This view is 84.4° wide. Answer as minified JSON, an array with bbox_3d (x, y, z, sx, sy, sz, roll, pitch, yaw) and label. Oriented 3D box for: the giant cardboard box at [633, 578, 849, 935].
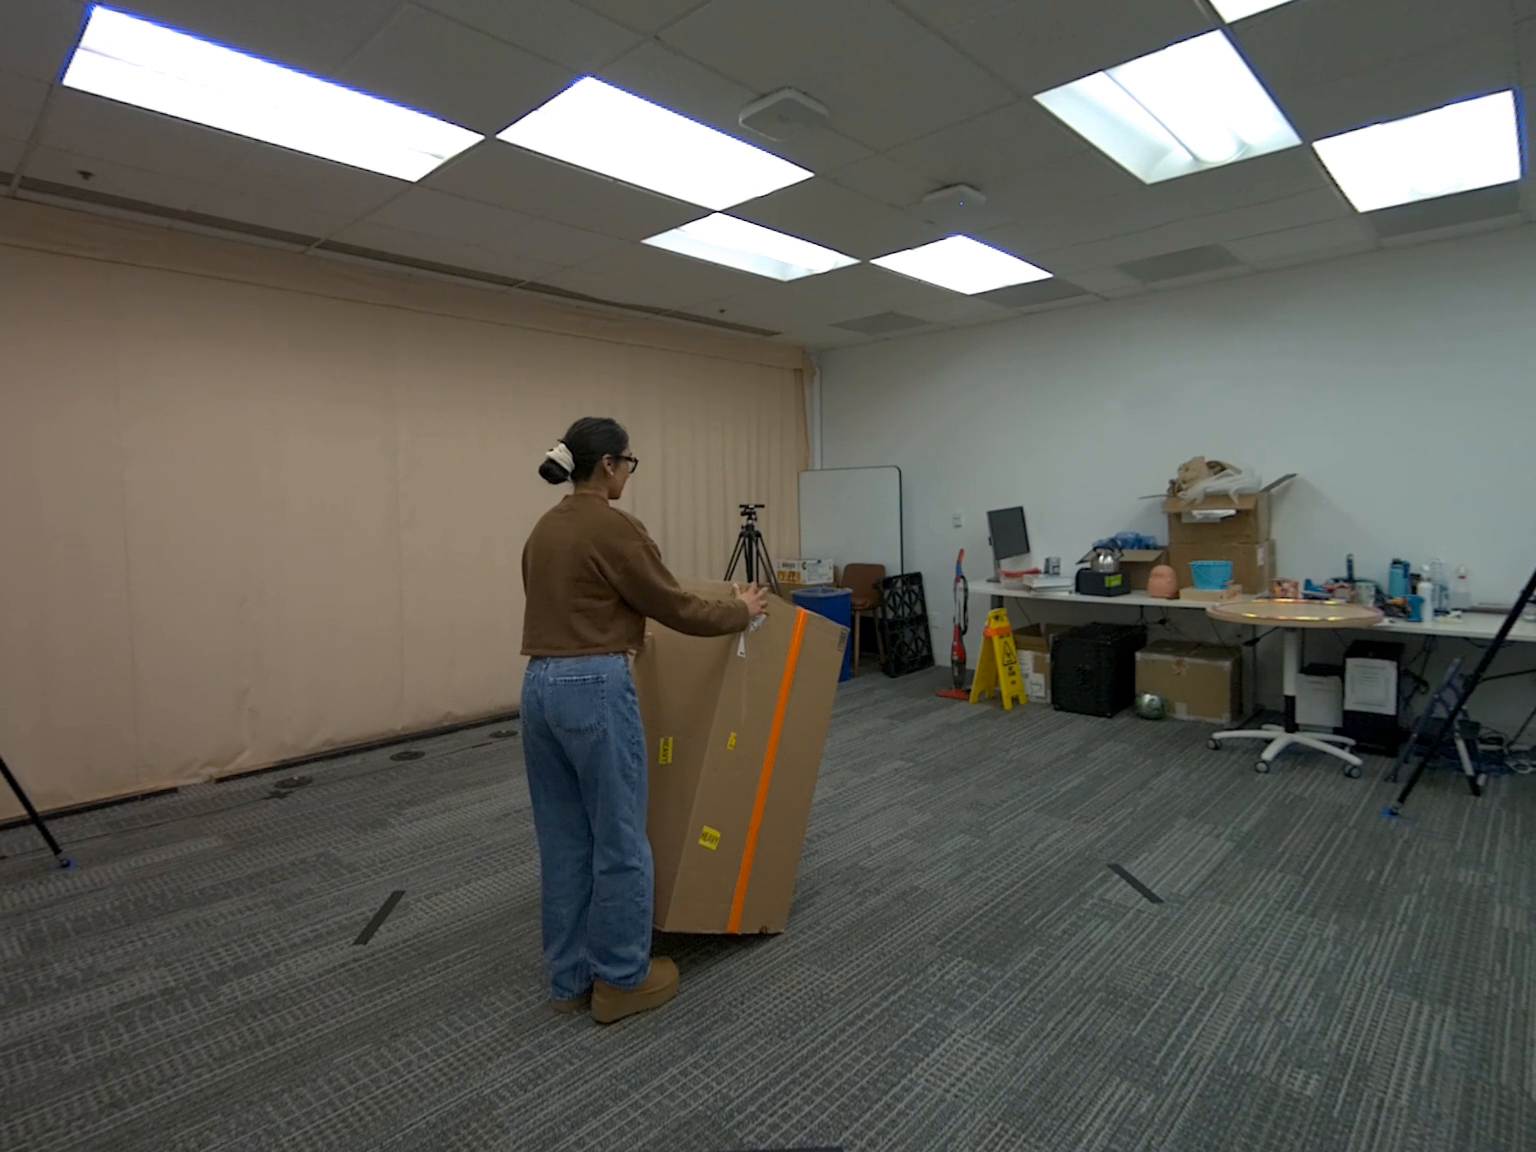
[{"bbox_3d":[-0.157,0.583,2.798,0.440,1.030,0.556,2,-16,42],"label":"giant cardboard box"}]
